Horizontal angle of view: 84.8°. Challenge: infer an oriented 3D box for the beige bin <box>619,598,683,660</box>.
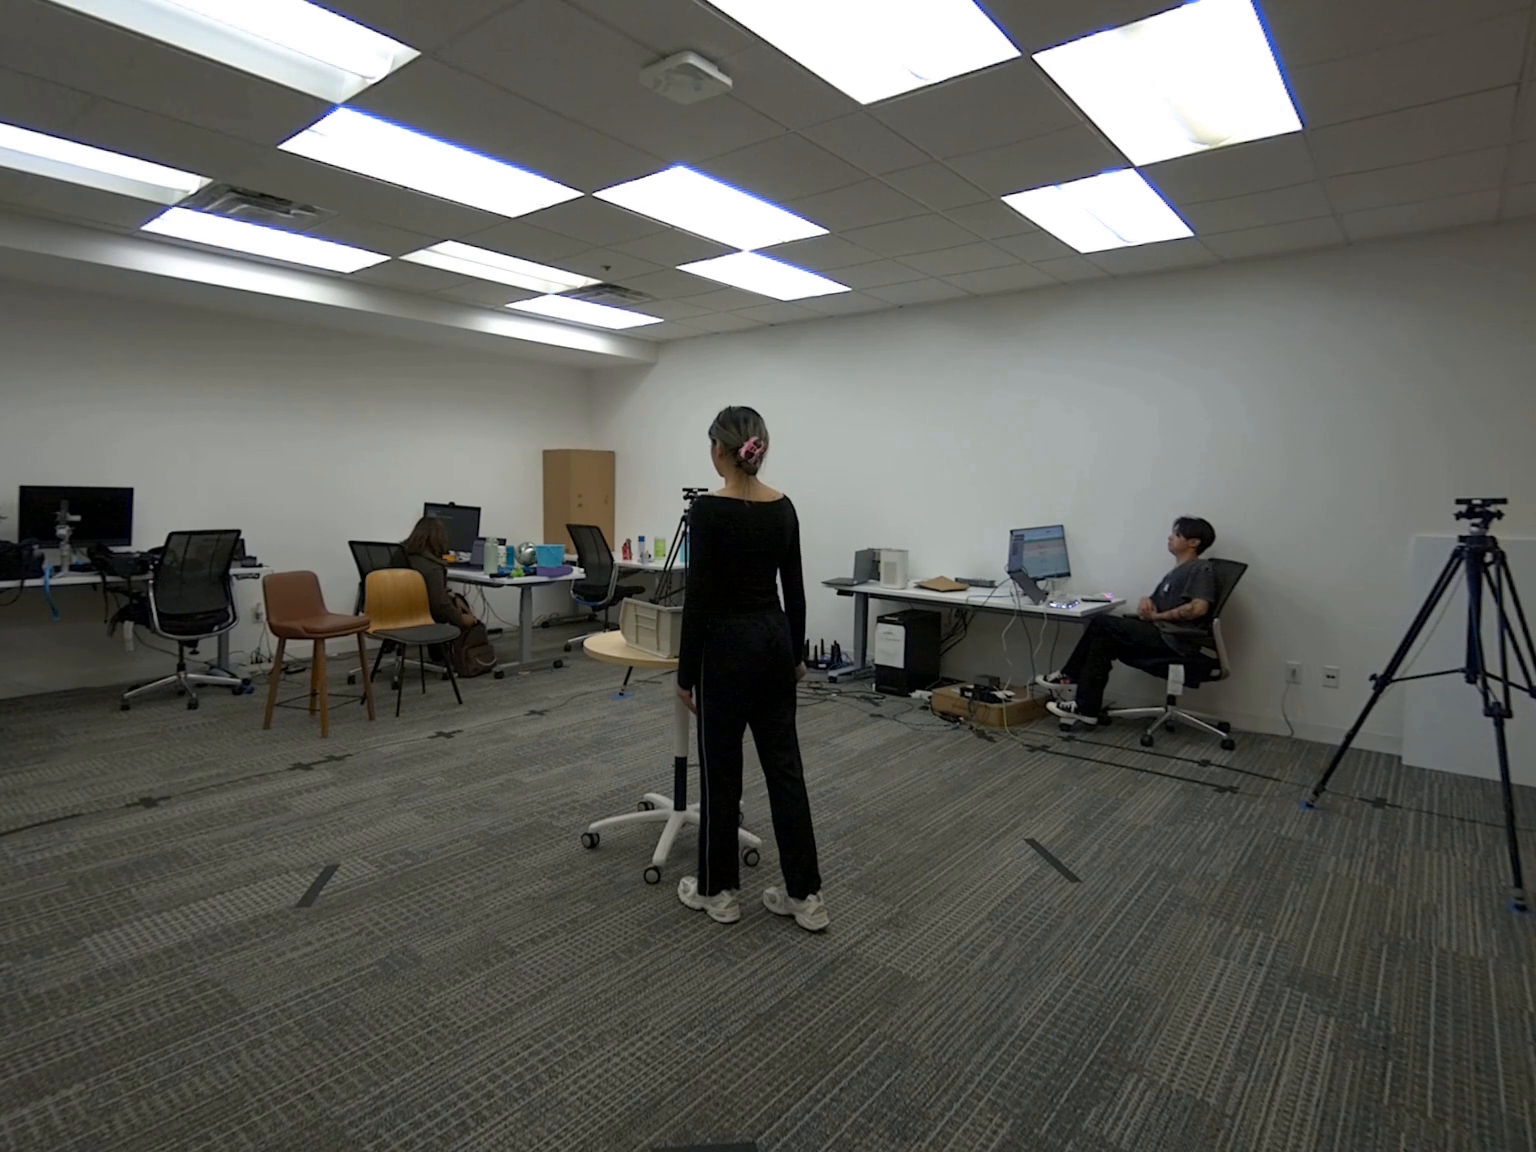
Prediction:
[{"bbox_3d":[-0.300,0.176,3.196,0.410,0.188,0.390,-2,7,-35],"label":"beige bin"}]
